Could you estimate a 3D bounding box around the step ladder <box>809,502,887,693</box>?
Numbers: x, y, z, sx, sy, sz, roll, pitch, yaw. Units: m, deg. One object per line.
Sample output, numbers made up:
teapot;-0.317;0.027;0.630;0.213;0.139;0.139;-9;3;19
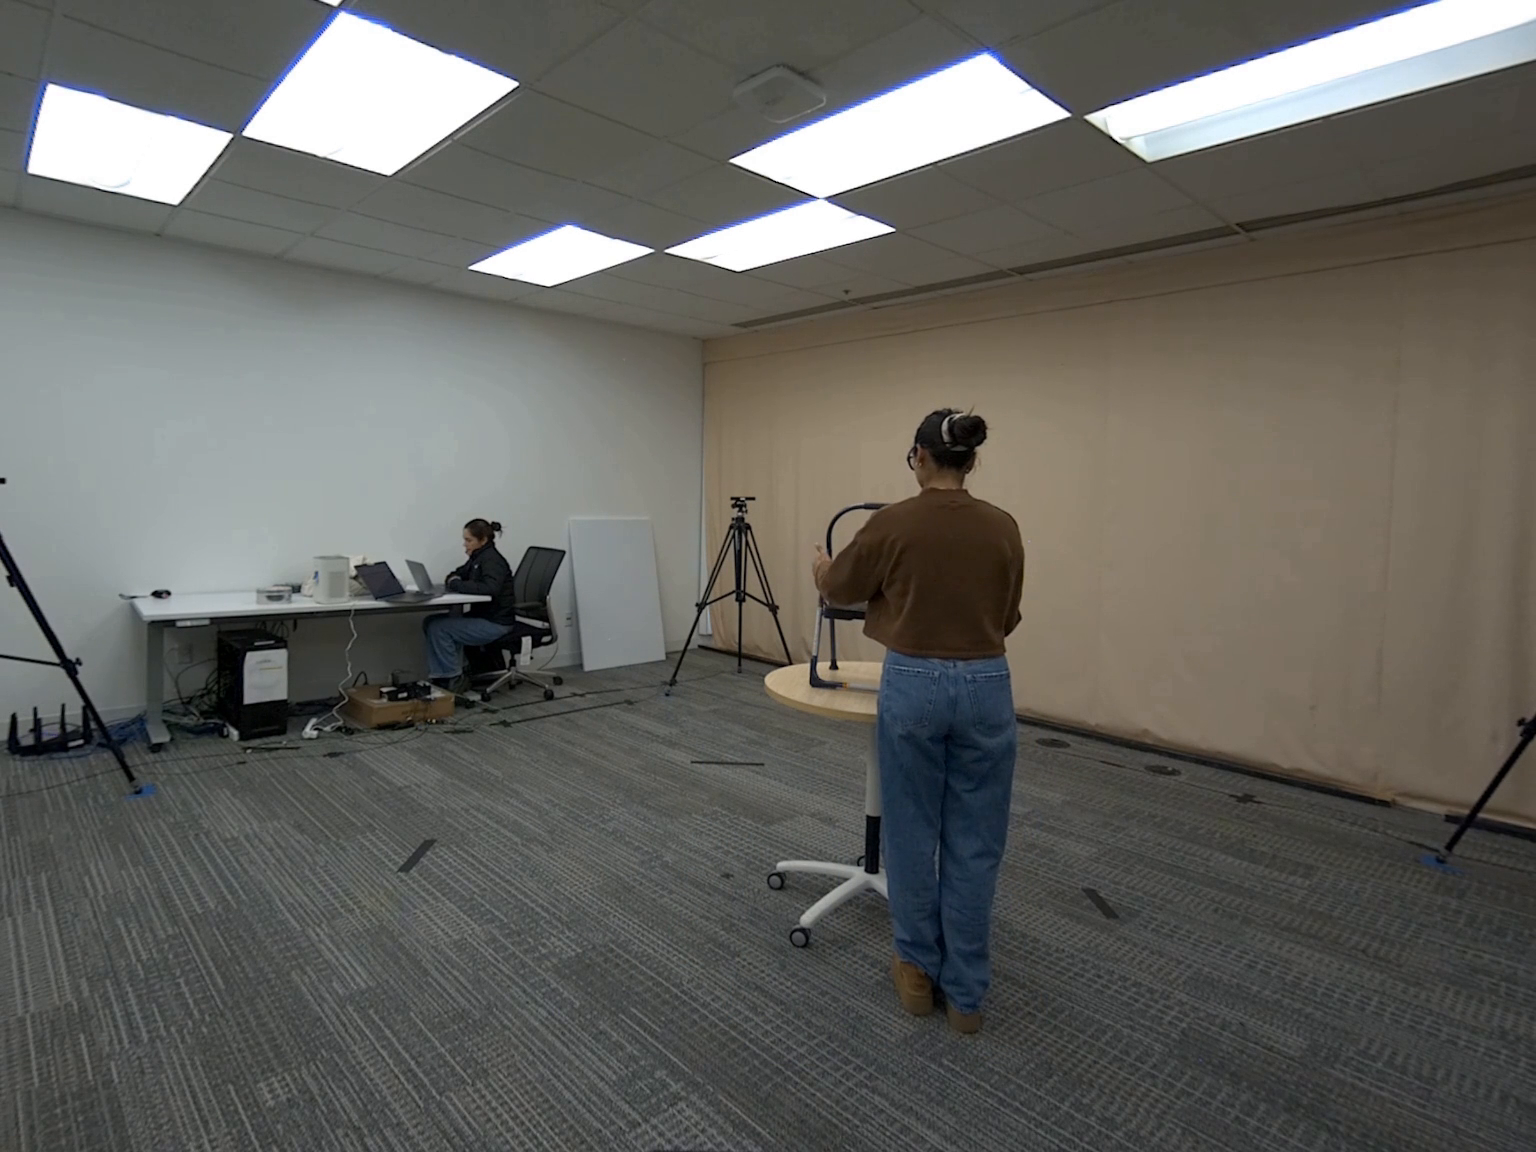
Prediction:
step ladder;0.393;0.066;2.813;0.437;0.604;0.344;4;4;19
